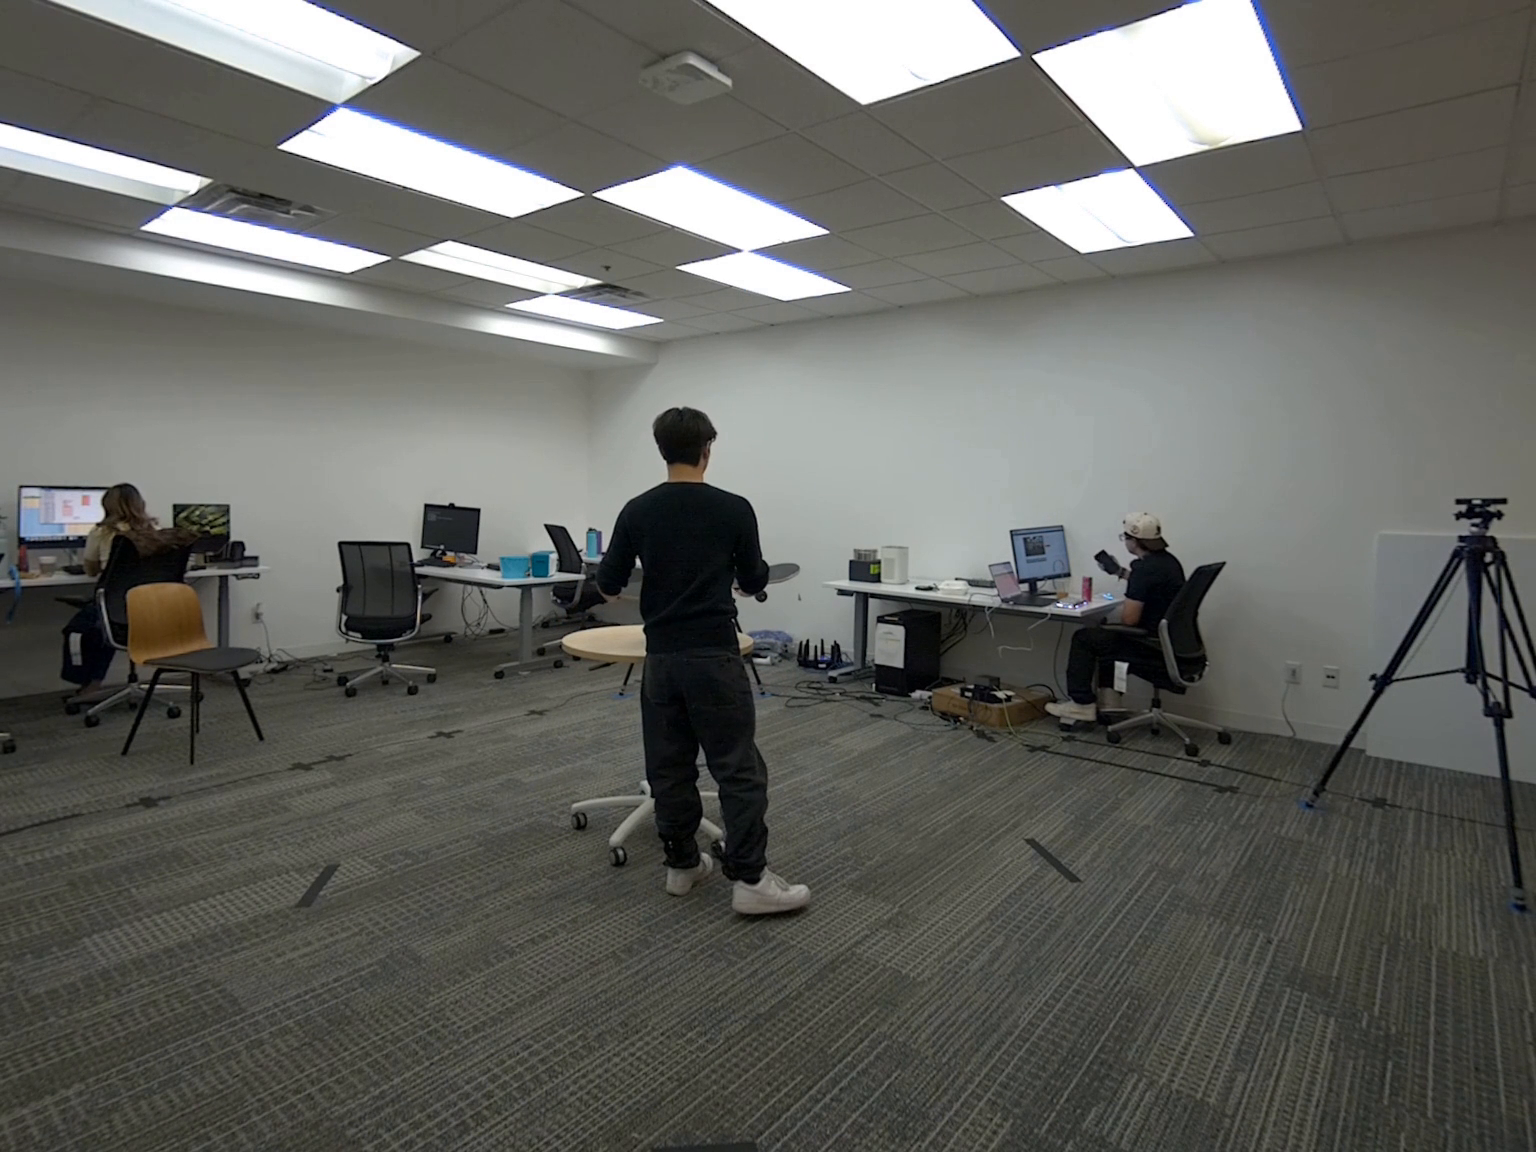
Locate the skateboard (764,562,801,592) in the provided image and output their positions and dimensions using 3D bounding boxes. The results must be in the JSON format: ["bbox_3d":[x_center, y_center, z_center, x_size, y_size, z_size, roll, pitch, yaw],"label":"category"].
[{"bbox_3d":[-0.268,0.059,3.411,0.772,0.109,0.199,-8,16,-19],"label":"skateboard"}]
